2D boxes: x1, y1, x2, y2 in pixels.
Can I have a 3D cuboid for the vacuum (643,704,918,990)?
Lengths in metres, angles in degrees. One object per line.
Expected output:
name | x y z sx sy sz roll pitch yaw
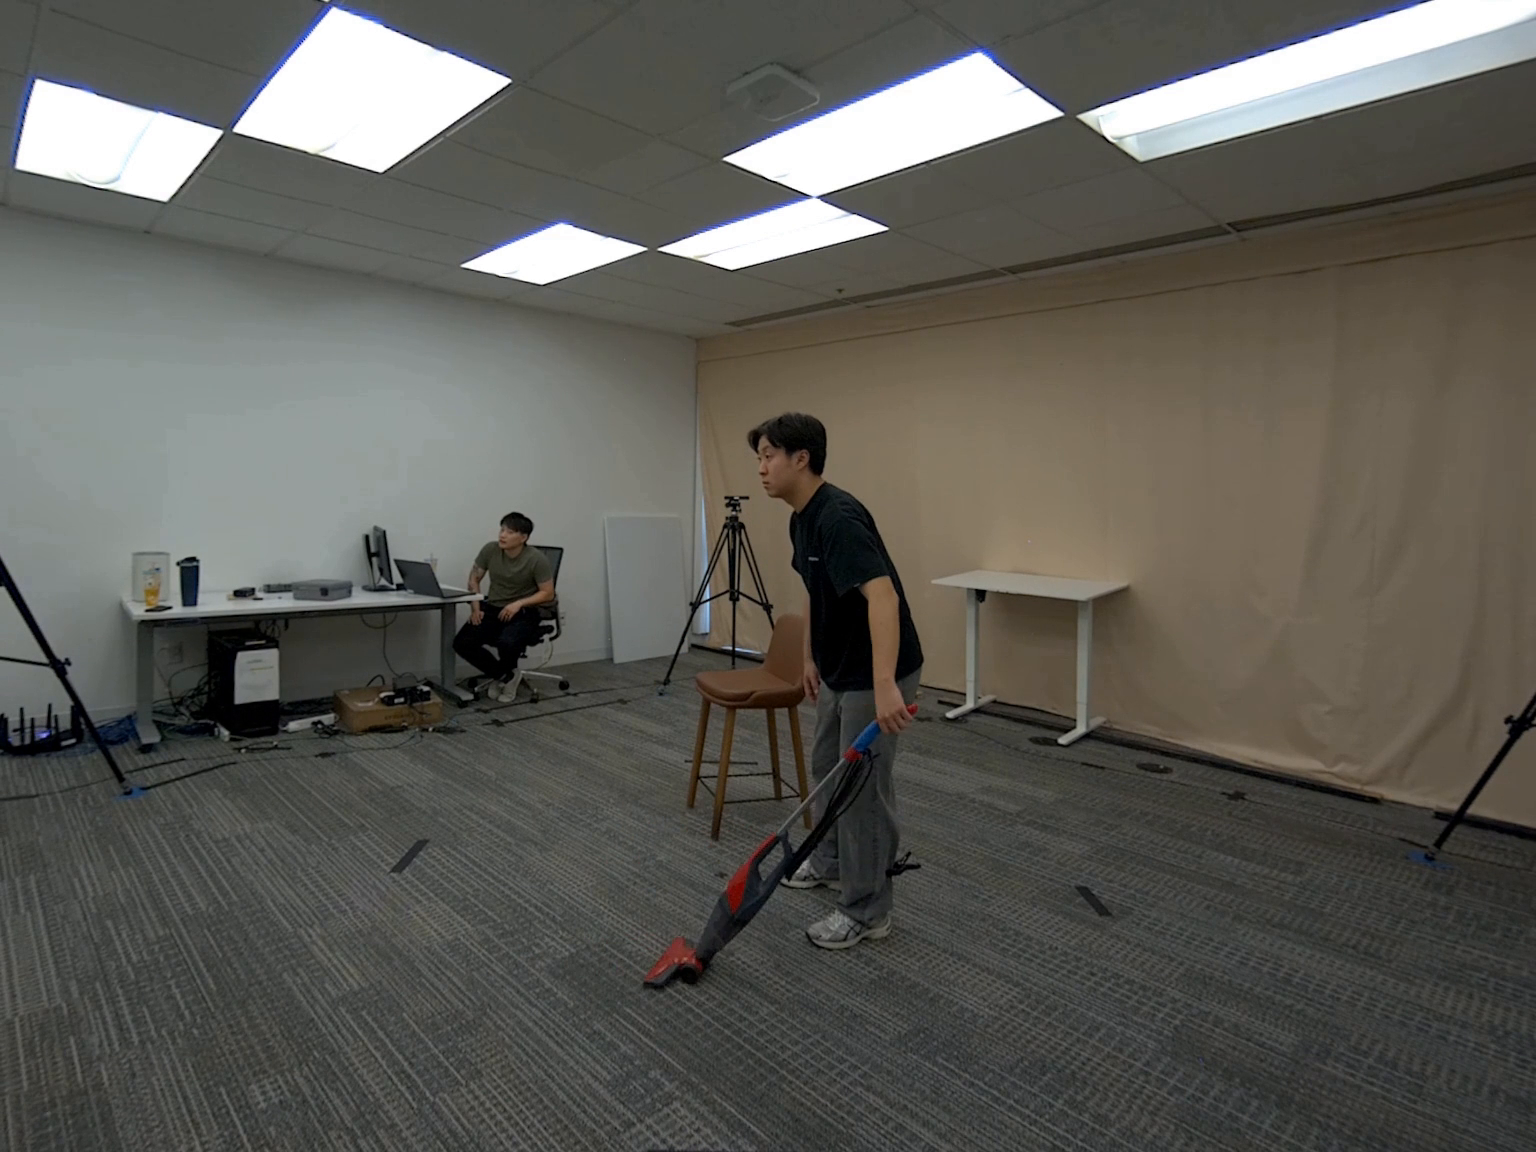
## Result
vacuum | 0.036 0.765 2.345 0.146 1.048 0.249 44 15 12
